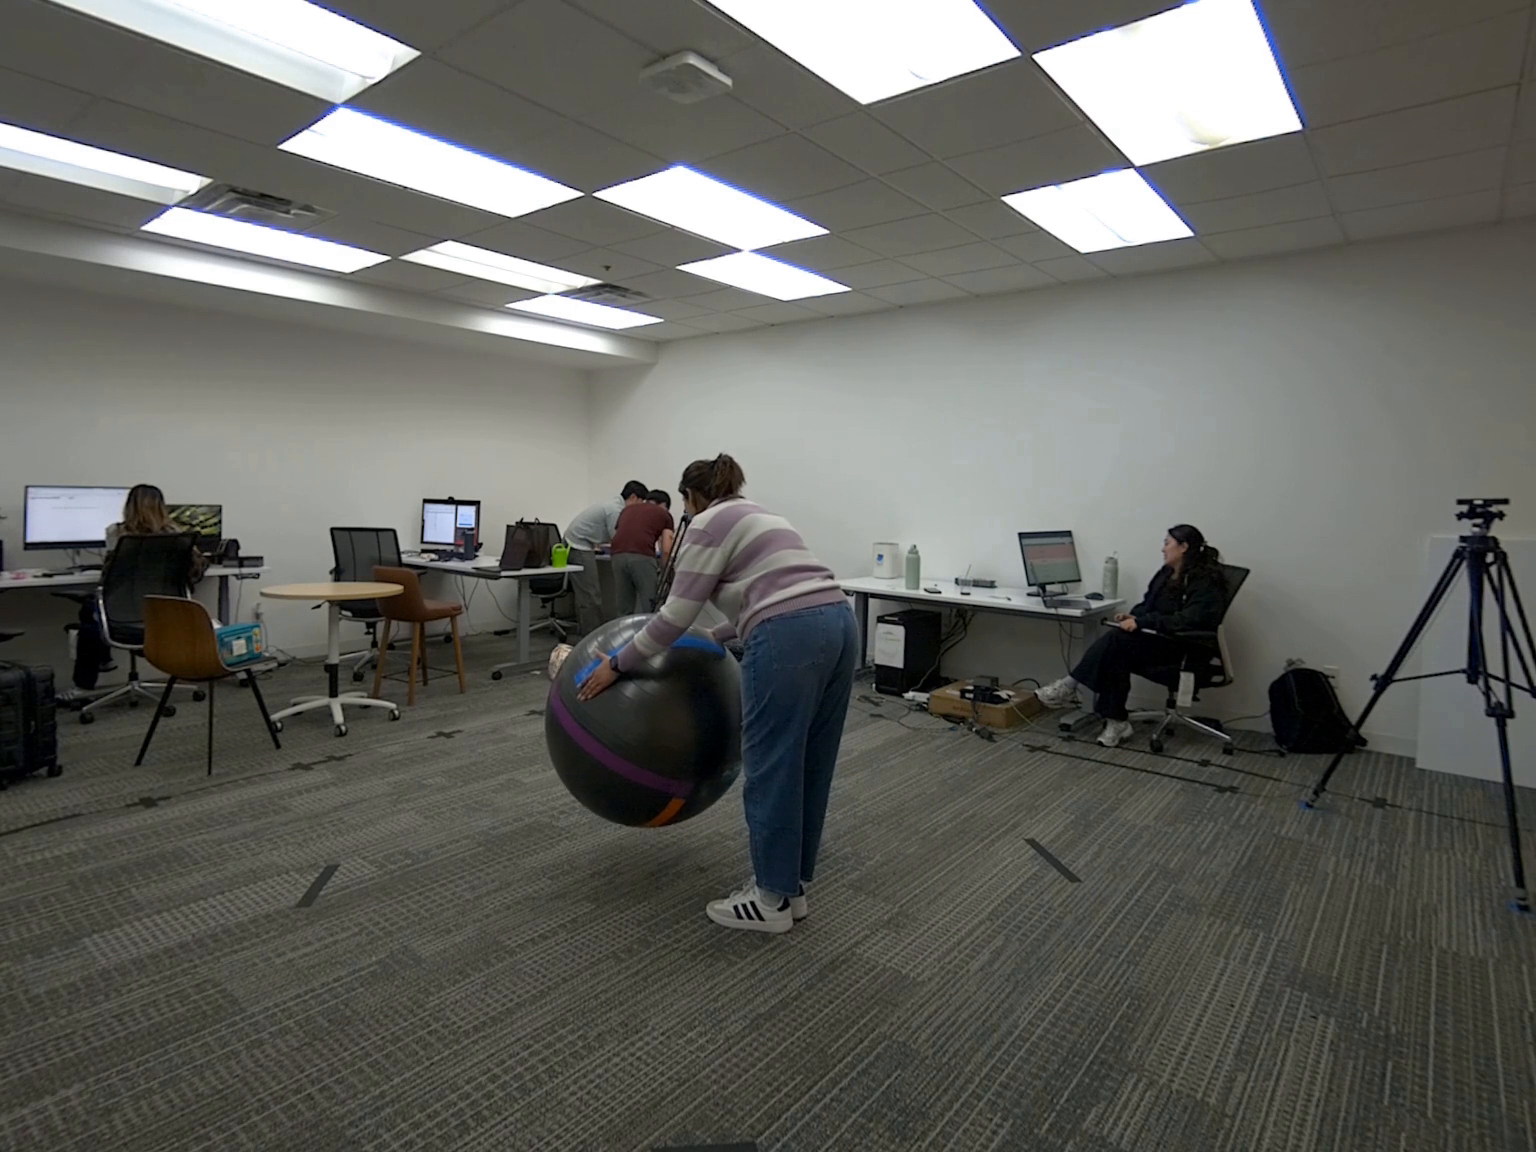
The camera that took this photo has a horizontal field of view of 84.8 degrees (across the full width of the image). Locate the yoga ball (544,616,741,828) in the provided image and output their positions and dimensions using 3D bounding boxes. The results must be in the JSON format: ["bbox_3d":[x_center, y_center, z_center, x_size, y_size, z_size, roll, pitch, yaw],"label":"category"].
[{"bbox_3d":[-0.435,0.523,3.104,0.757,0.755,0.762,1,4,-2],"label":"yoga ball"}]
